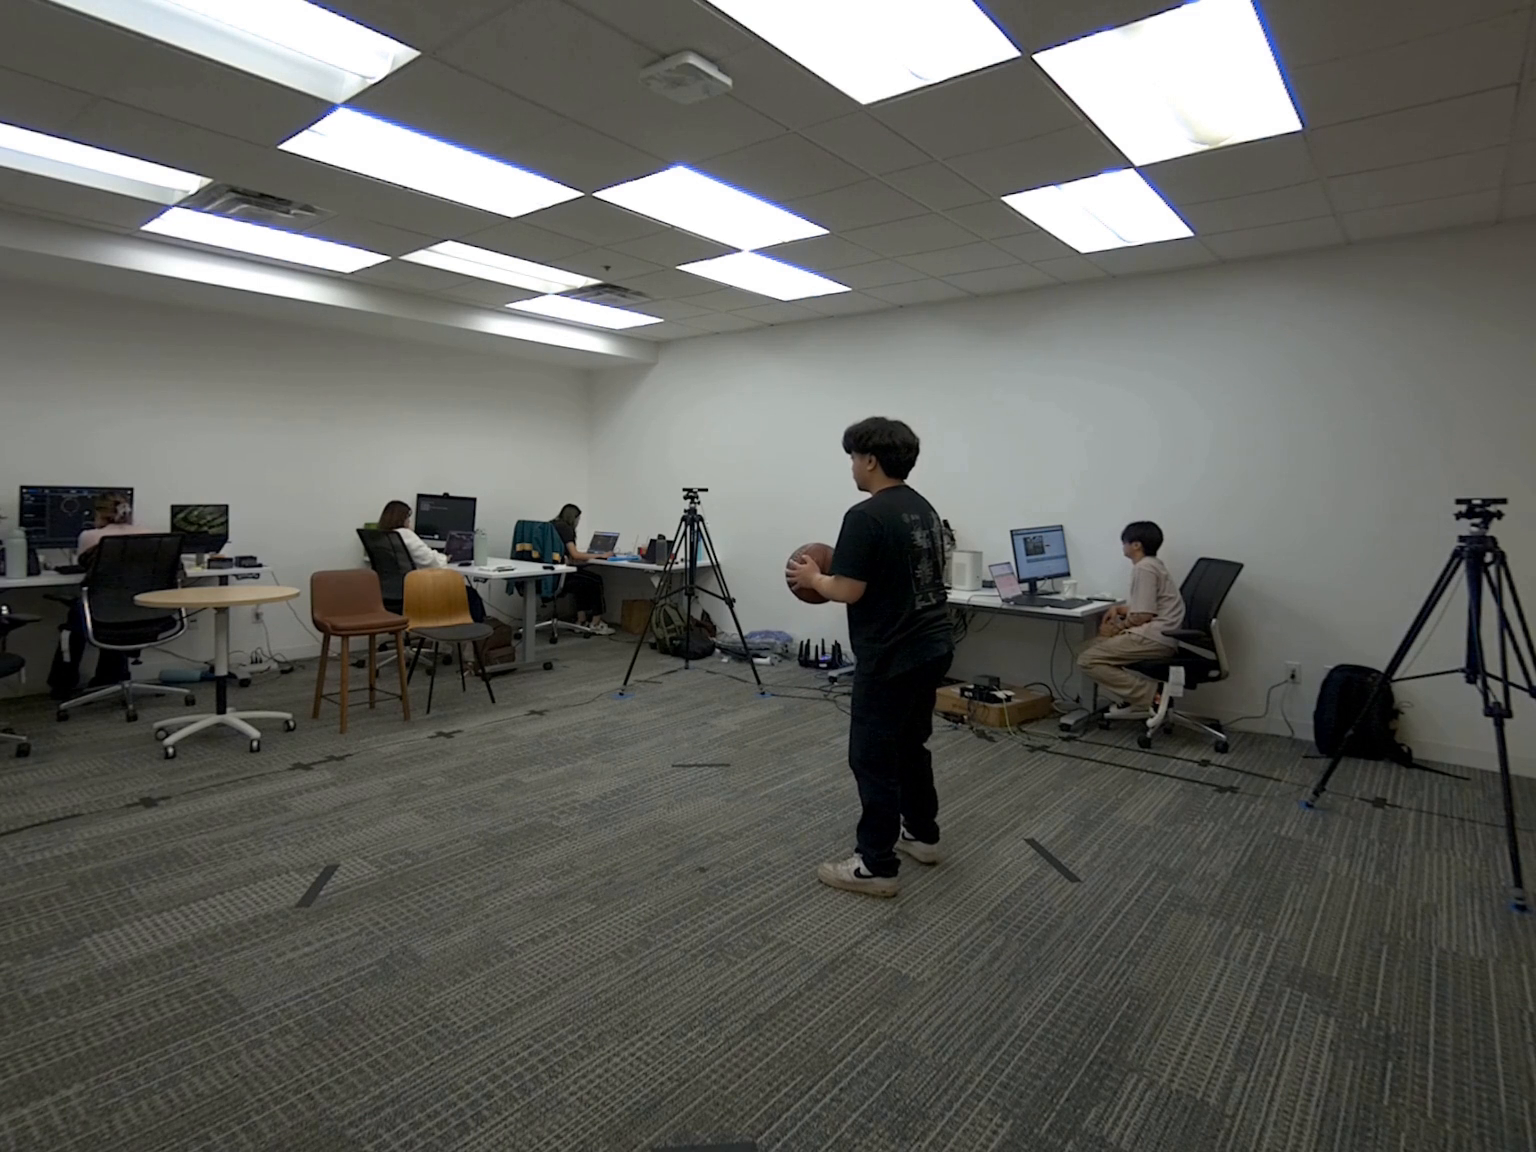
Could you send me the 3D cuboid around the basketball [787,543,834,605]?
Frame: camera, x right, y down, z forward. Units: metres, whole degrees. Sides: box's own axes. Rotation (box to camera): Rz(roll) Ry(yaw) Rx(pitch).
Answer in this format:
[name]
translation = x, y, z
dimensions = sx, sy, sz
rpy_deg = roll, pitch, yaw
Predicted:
[basketball]
translation = 0.182, -0.009, 3.314
dimensions = 0.235, 0.235, 0.237
rpy_deg = 1, 4, -2
